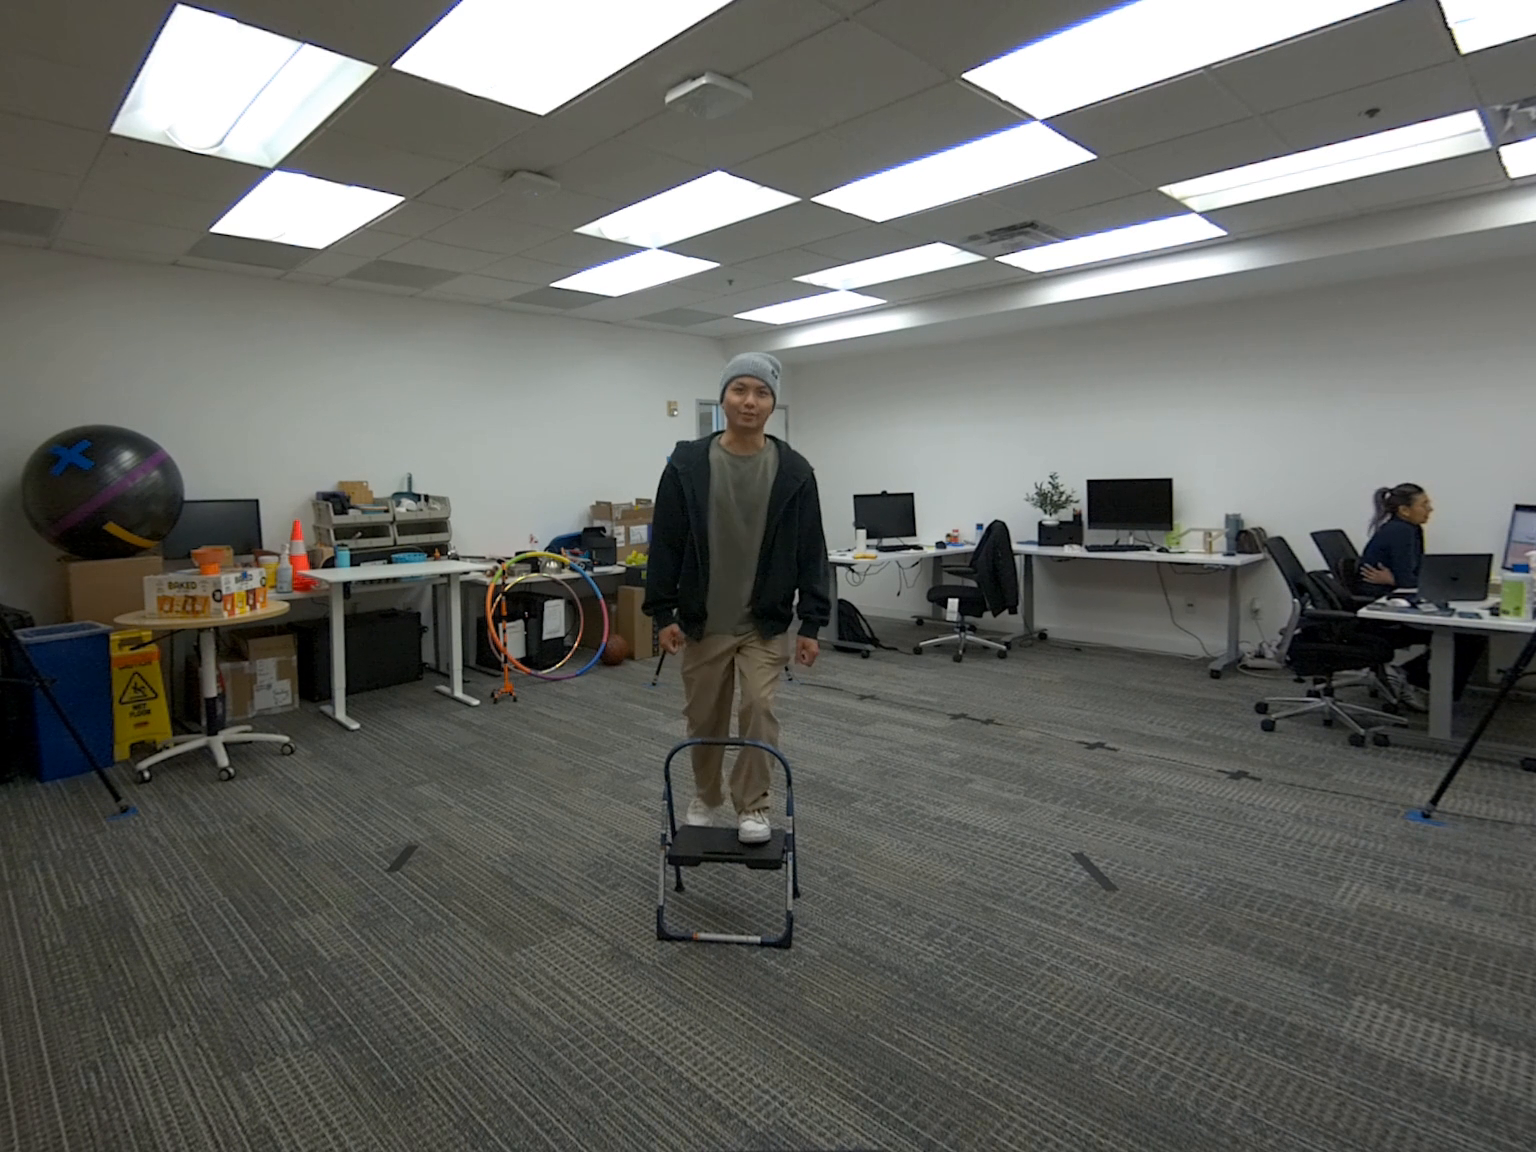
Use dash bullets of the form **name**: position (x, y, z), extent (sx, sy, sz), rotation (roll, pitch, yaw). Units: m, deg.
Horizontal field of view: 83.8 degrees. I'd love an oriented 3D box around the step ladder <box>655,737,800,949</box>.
- **step ladder**: position (-0.120, 0.794, 2.716), extent (0.433, 0.604, 0.348), rotation (0, 4, 6)
